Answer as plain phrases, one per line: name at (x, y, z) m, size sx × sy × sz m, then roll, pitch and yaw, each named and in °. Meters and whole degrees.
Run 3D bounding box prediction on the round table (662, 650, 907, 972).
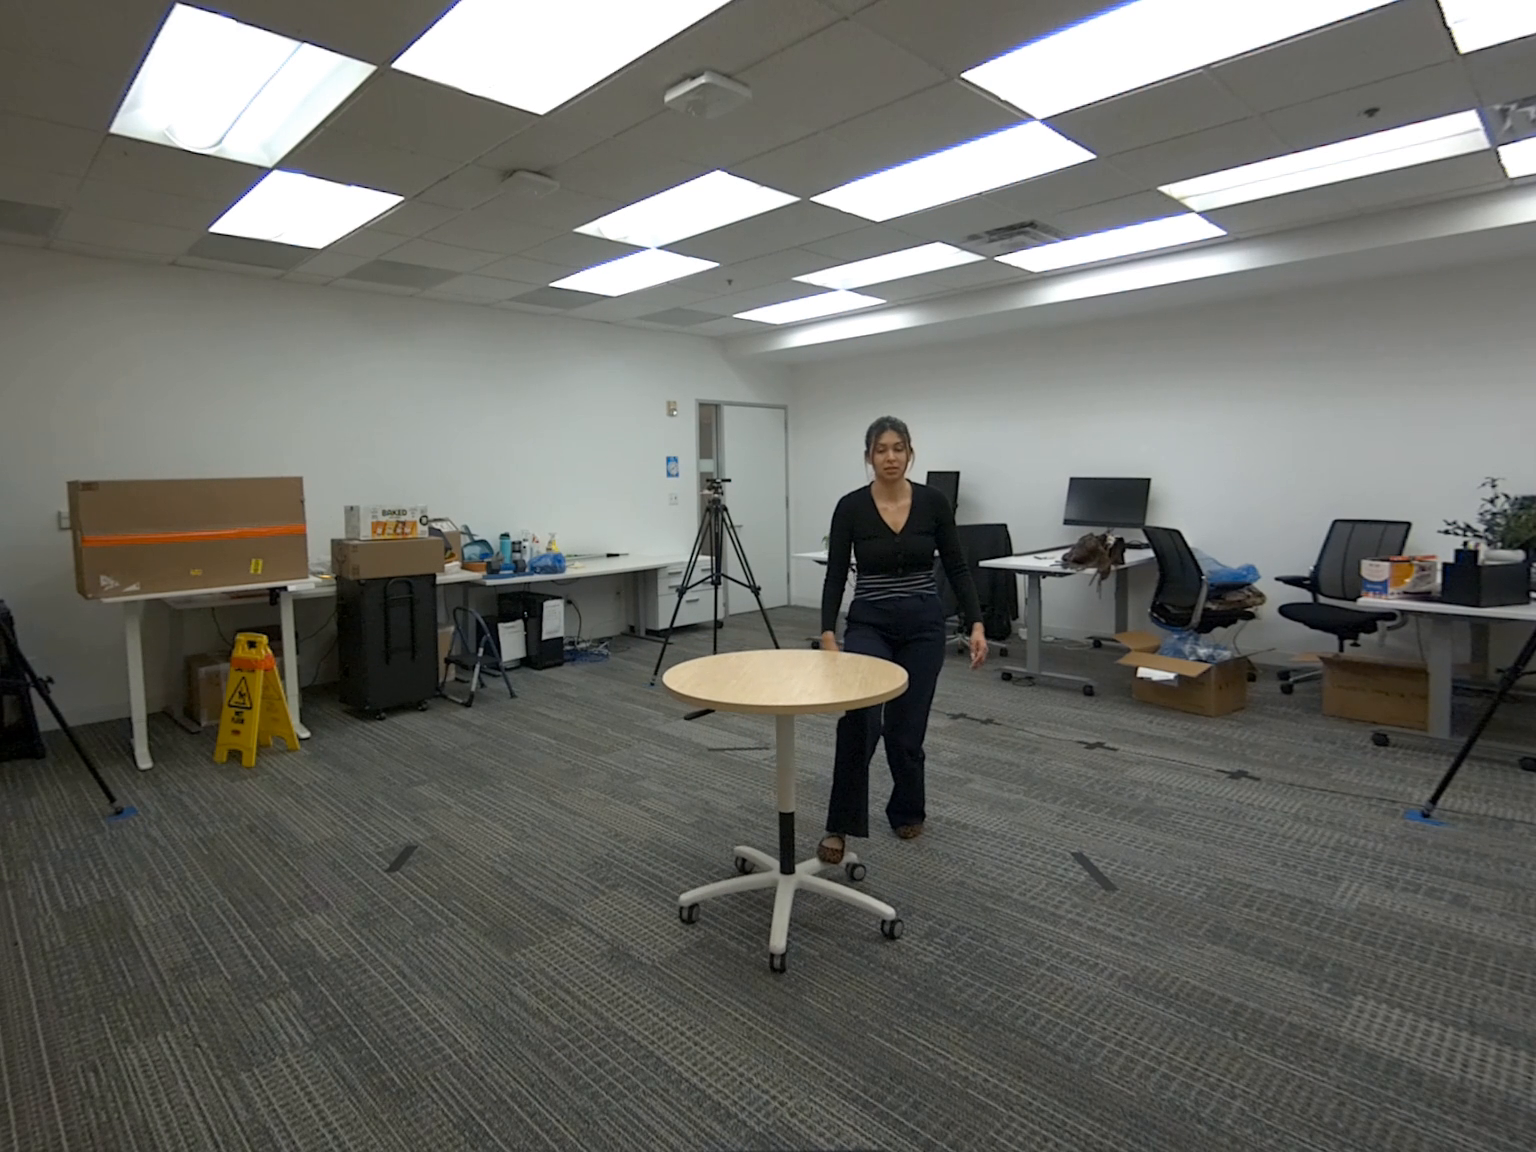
round table at (0.063, 0.700, 2.714) m, size 0.763 × 0.791 × 0.768 m, roll -2°, pitch 5°, yaw -2°
